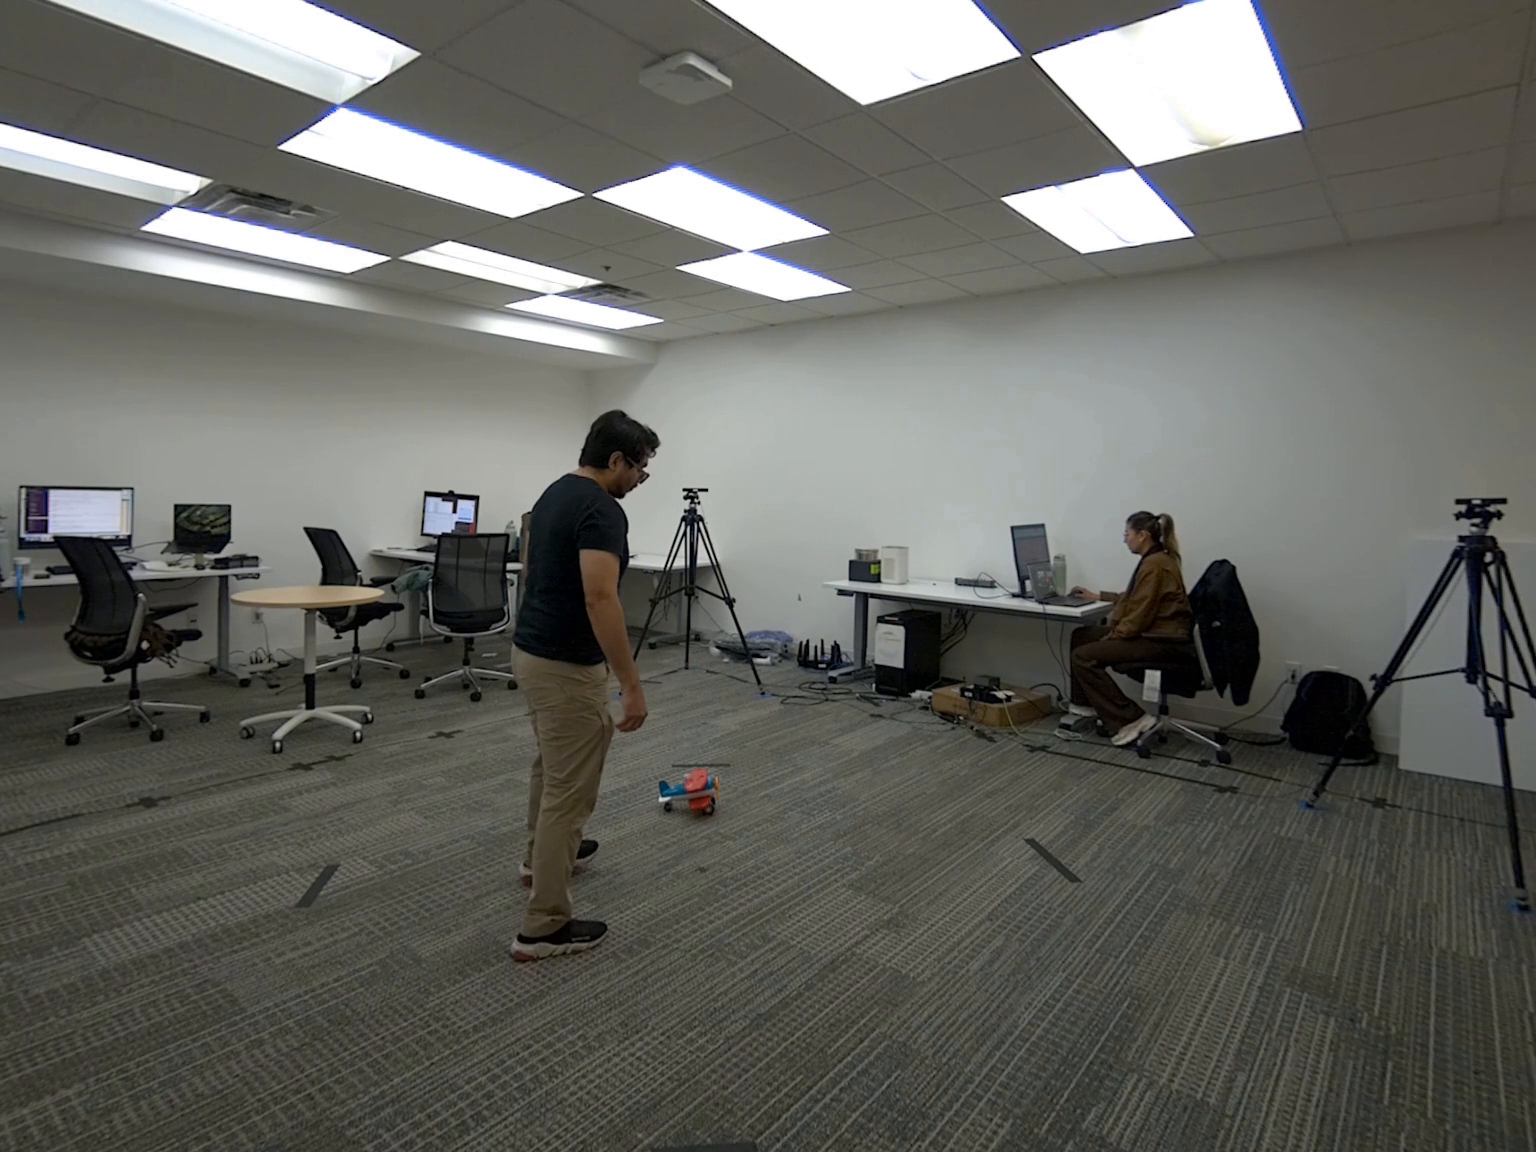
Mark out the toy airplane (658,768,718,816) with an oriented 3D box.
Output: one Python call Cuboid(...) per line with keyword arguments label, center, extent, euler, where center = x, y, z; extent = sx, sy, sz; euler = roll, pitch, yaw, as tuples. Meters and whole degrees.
Cuboid(label="toy airplane", center=(-0.347, 0.939, 3.658), extent=(0.252, 0.156, 0.258), euler=(1, 4, -28))
